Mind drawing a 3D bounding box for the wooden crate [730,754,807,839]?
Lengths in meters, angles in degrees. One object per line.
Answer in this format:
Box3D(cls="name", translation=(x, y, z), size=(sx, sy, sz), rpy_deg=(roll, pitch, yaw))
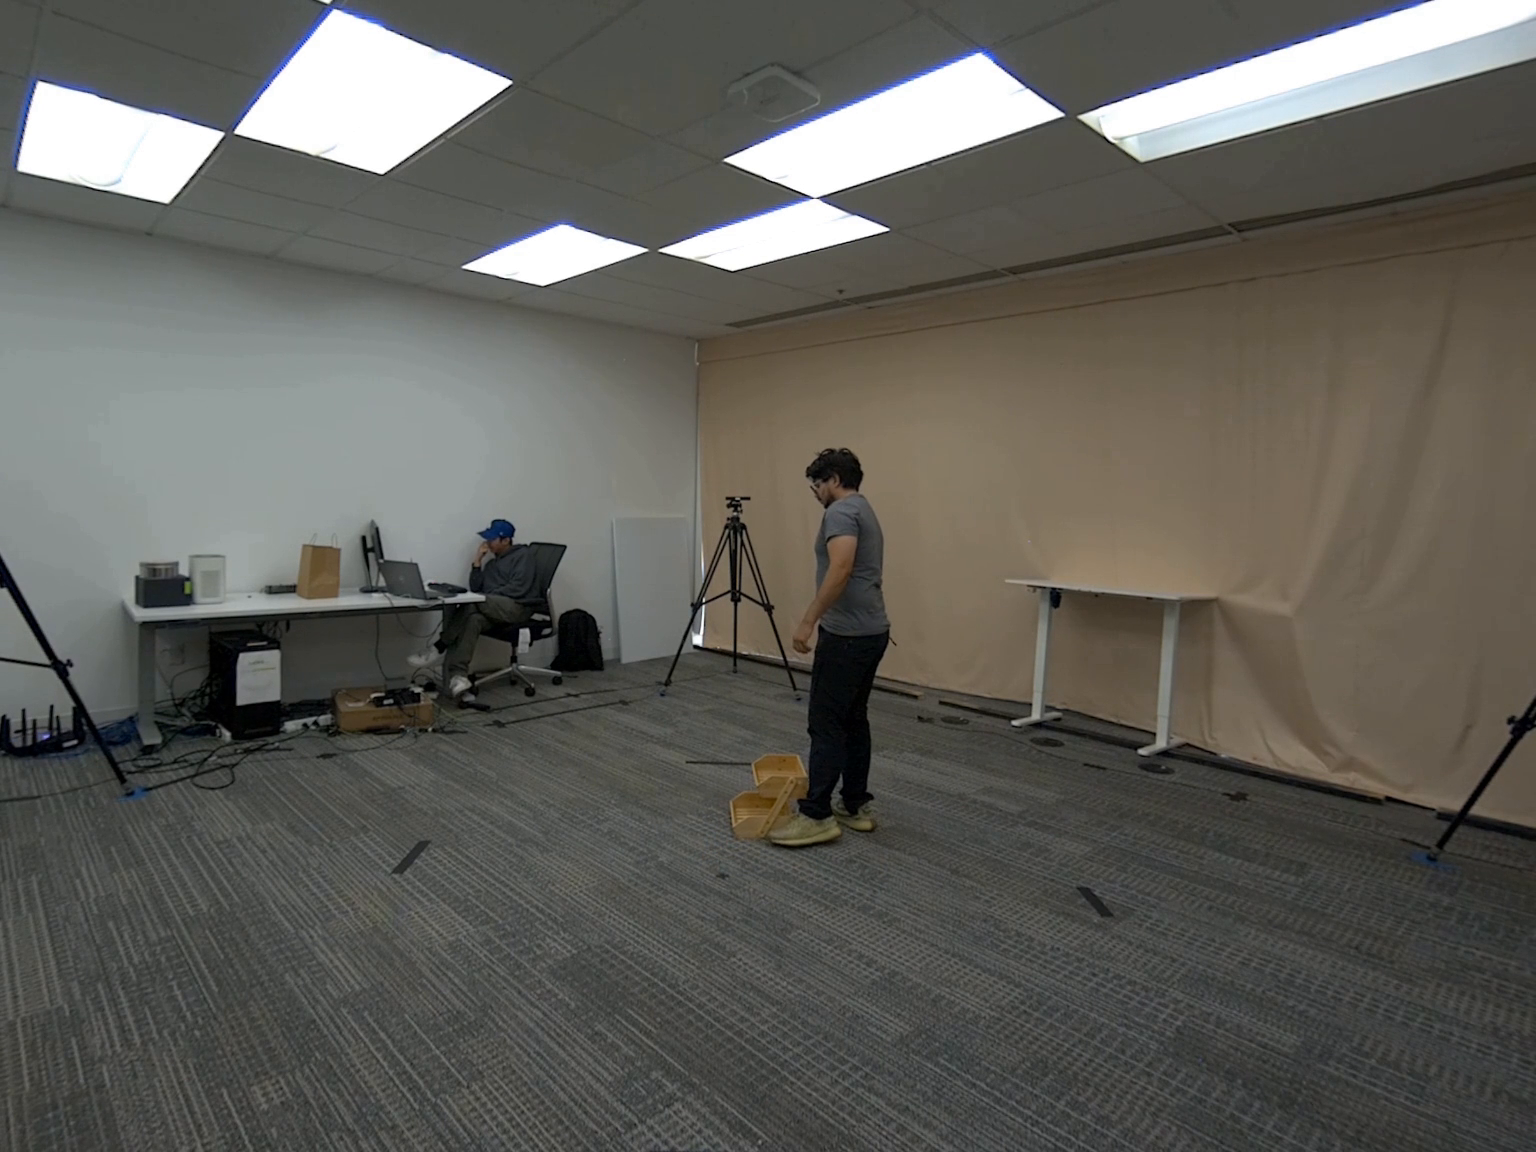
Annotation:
Box3D(cls="wooden crate", translation=(-0.021, 0.935, 3.607), size=(0.301, 0.273, 0.326), rpy_deg=(2, 4, -3))
